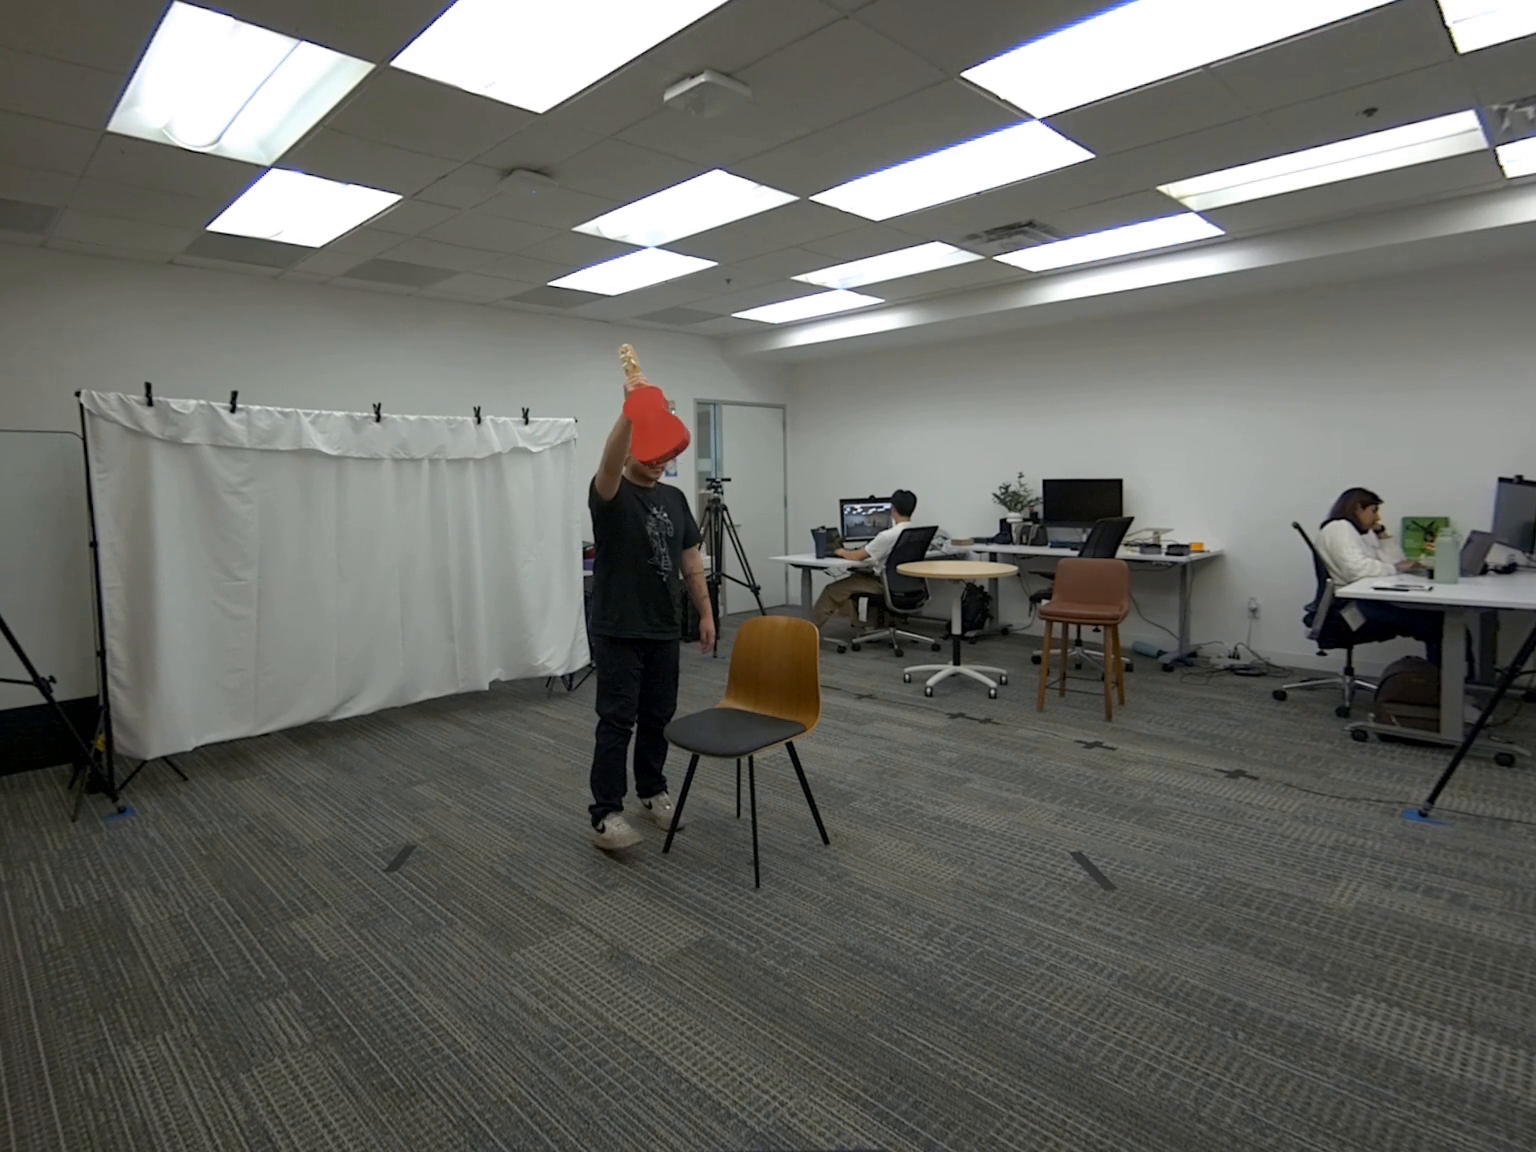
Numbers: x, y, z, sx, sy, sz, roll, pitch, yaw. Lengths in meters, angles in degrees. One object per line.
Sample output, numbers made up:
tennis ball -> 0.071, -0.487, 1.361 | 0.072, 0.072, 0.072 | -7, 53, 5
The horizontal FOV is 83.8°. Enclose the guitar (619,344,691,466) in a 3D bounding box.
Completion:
guitar -> -0.447, -0.581, 2.894 | 0.193, 0.513, 0.068 | -35, -25, 6
